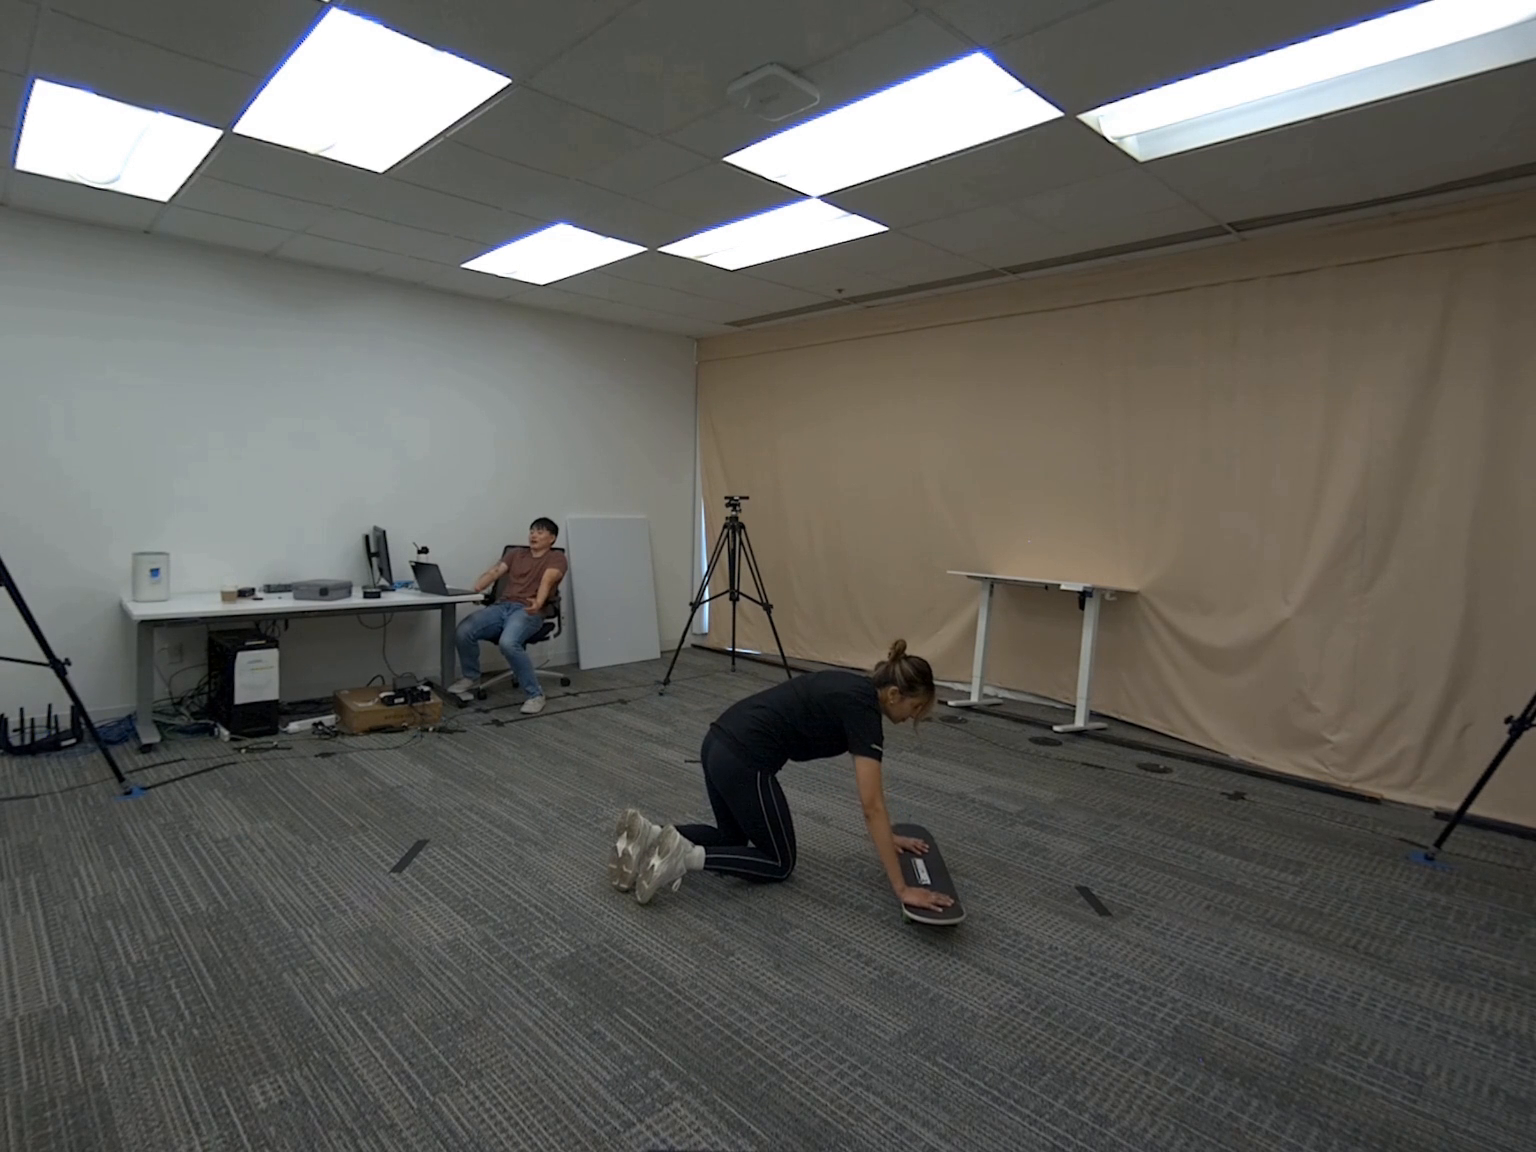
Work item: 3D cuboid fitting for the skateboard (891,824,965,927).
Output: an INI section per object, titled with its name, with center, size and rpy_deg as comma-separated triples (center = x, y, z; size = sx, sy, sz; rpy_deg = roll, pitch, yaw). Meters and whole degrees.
[skateboard]
center = 0.526, 1.066, 2.973
size = 0.194, 0.110, 0.786
rpy_deg = 0, 5, 2
